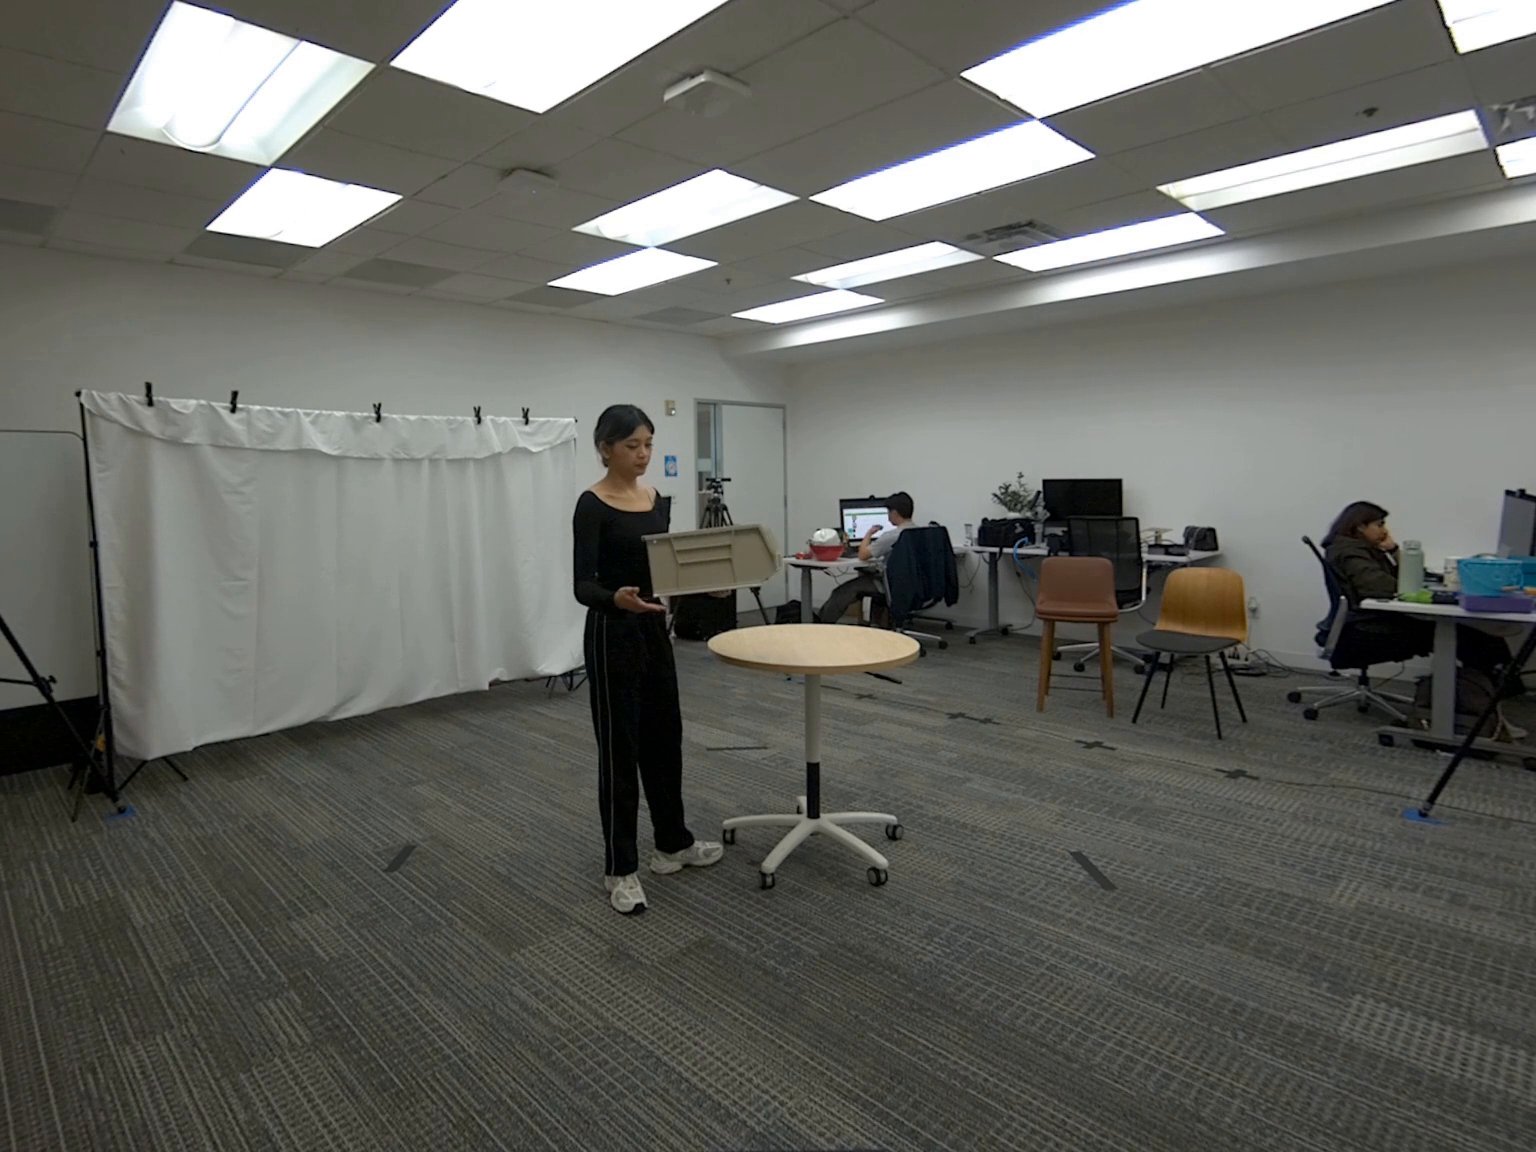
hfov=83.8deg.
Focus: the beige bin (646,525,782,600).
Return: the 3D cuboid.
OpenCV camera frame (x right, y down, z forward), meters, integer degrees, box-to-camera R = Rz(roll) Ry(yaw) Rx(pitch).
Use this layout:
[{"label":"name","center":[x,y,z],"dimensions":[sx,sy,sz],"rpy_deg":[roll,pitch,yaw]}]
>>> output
[{"label":"beige bin","center":[-0.152,-0.048,2.639],"dimensions":[0.379,0.189,0.421],"rpy_deg":[-7,2,5]}]
